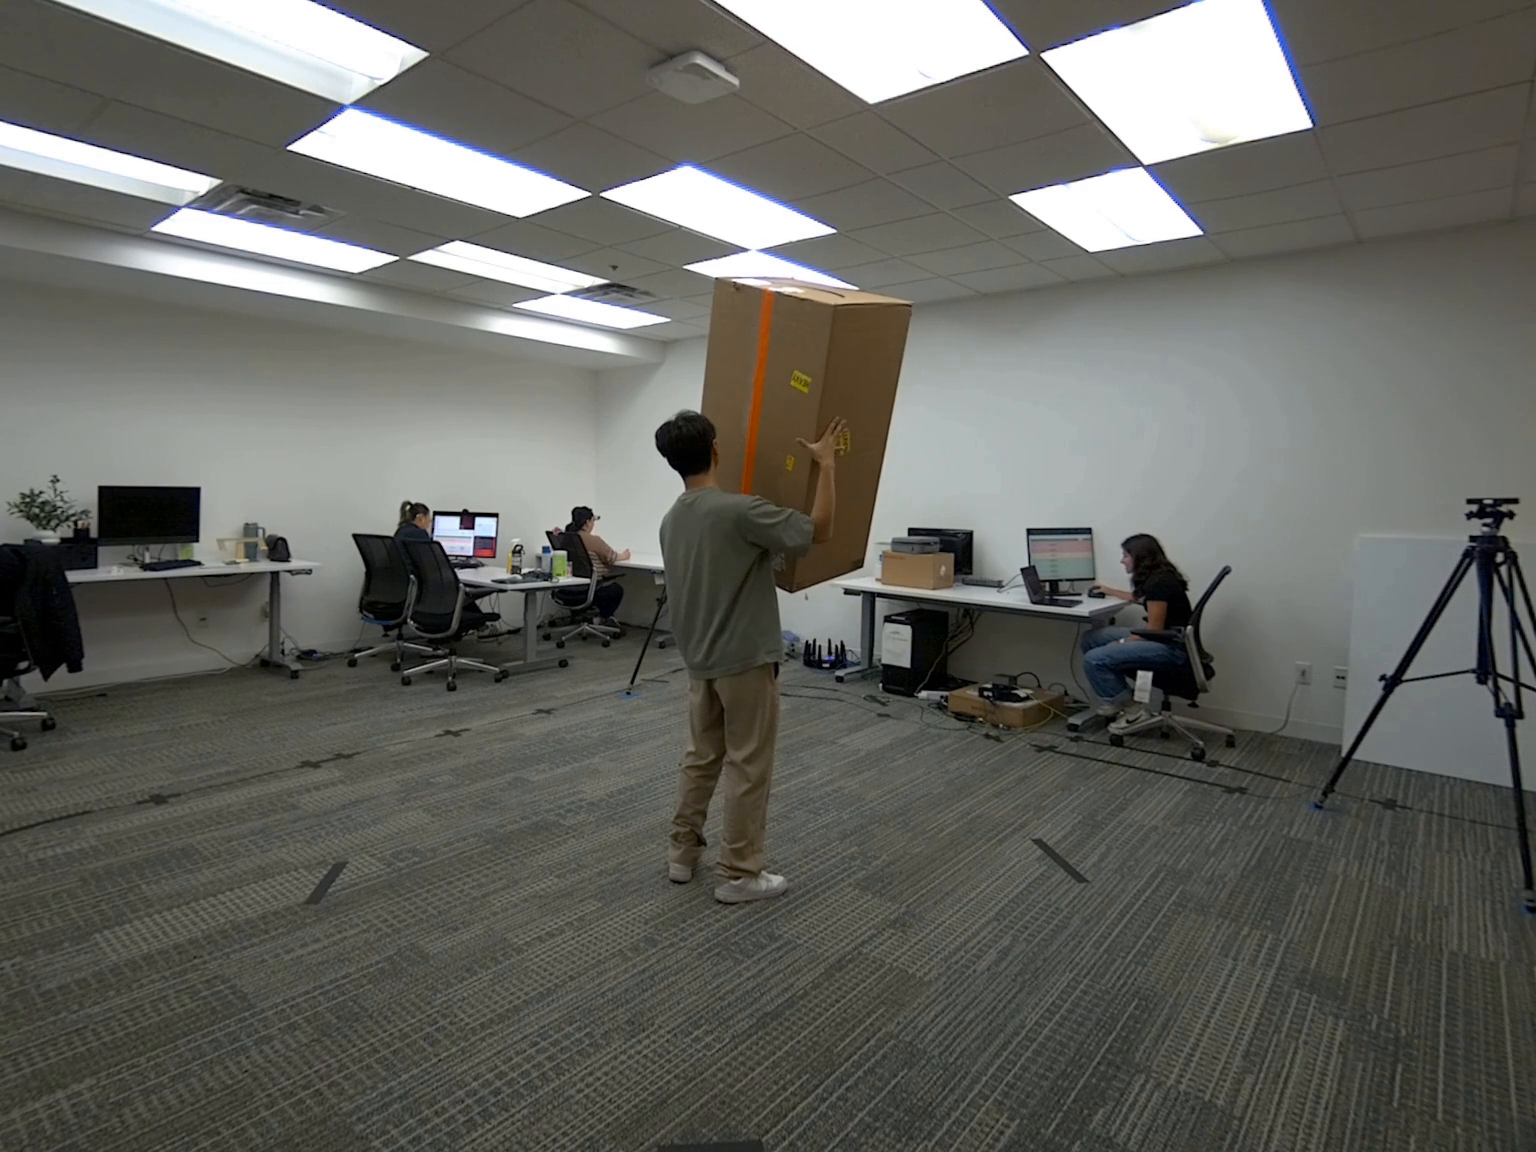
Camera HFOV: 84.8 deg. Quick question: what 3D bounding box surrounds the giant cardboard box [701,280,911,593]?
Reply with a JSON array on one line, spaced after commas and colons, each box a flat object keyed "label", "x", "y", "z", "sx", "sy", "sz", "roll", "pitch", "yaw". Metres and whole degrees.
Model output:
[{"label": "giant cardboard box", "x": 0.077, "y": -0.550, "z": 3.168, "sx": 0.416, "sy": 1.008, "sz": 0.601, "roll": -15, "pitch": 32, "yaw": -42}]
